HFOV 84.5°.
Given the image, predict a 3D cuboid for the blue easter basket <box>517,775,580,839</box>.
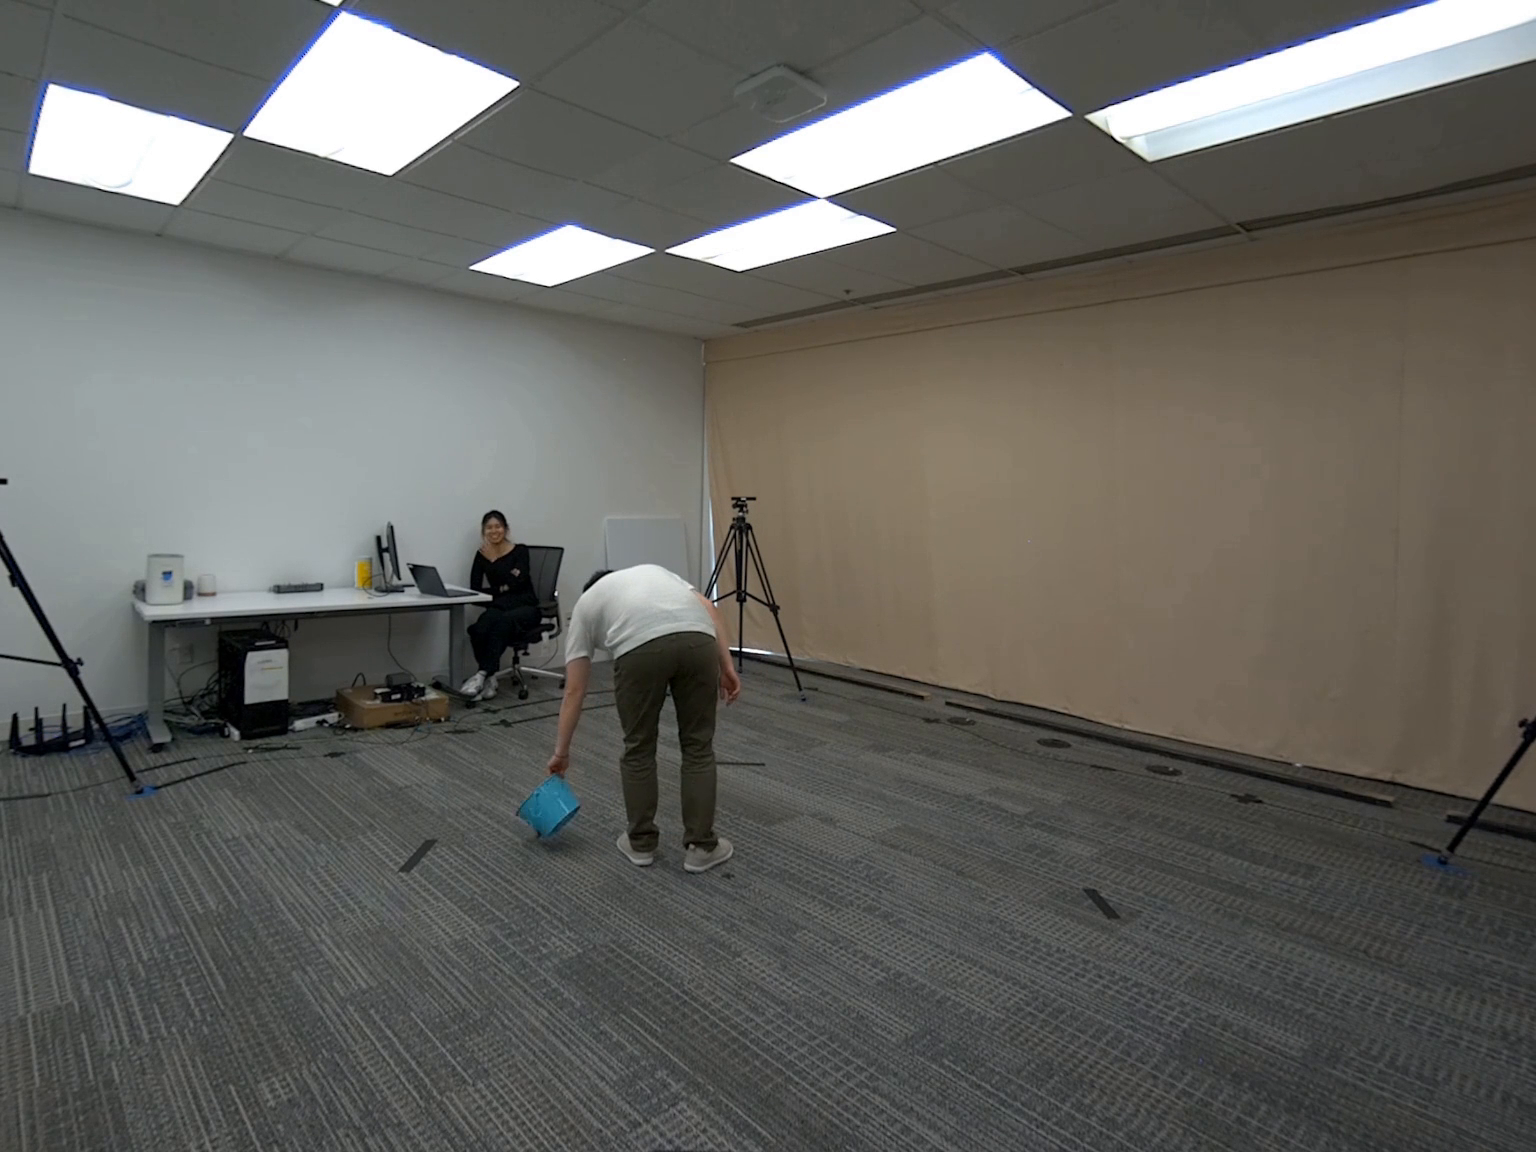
[{"bbox_3d":[-0.866,0.920,3.337,0.158,0.243,0.241,41,14,10],"label":"blue easter basket"}]
